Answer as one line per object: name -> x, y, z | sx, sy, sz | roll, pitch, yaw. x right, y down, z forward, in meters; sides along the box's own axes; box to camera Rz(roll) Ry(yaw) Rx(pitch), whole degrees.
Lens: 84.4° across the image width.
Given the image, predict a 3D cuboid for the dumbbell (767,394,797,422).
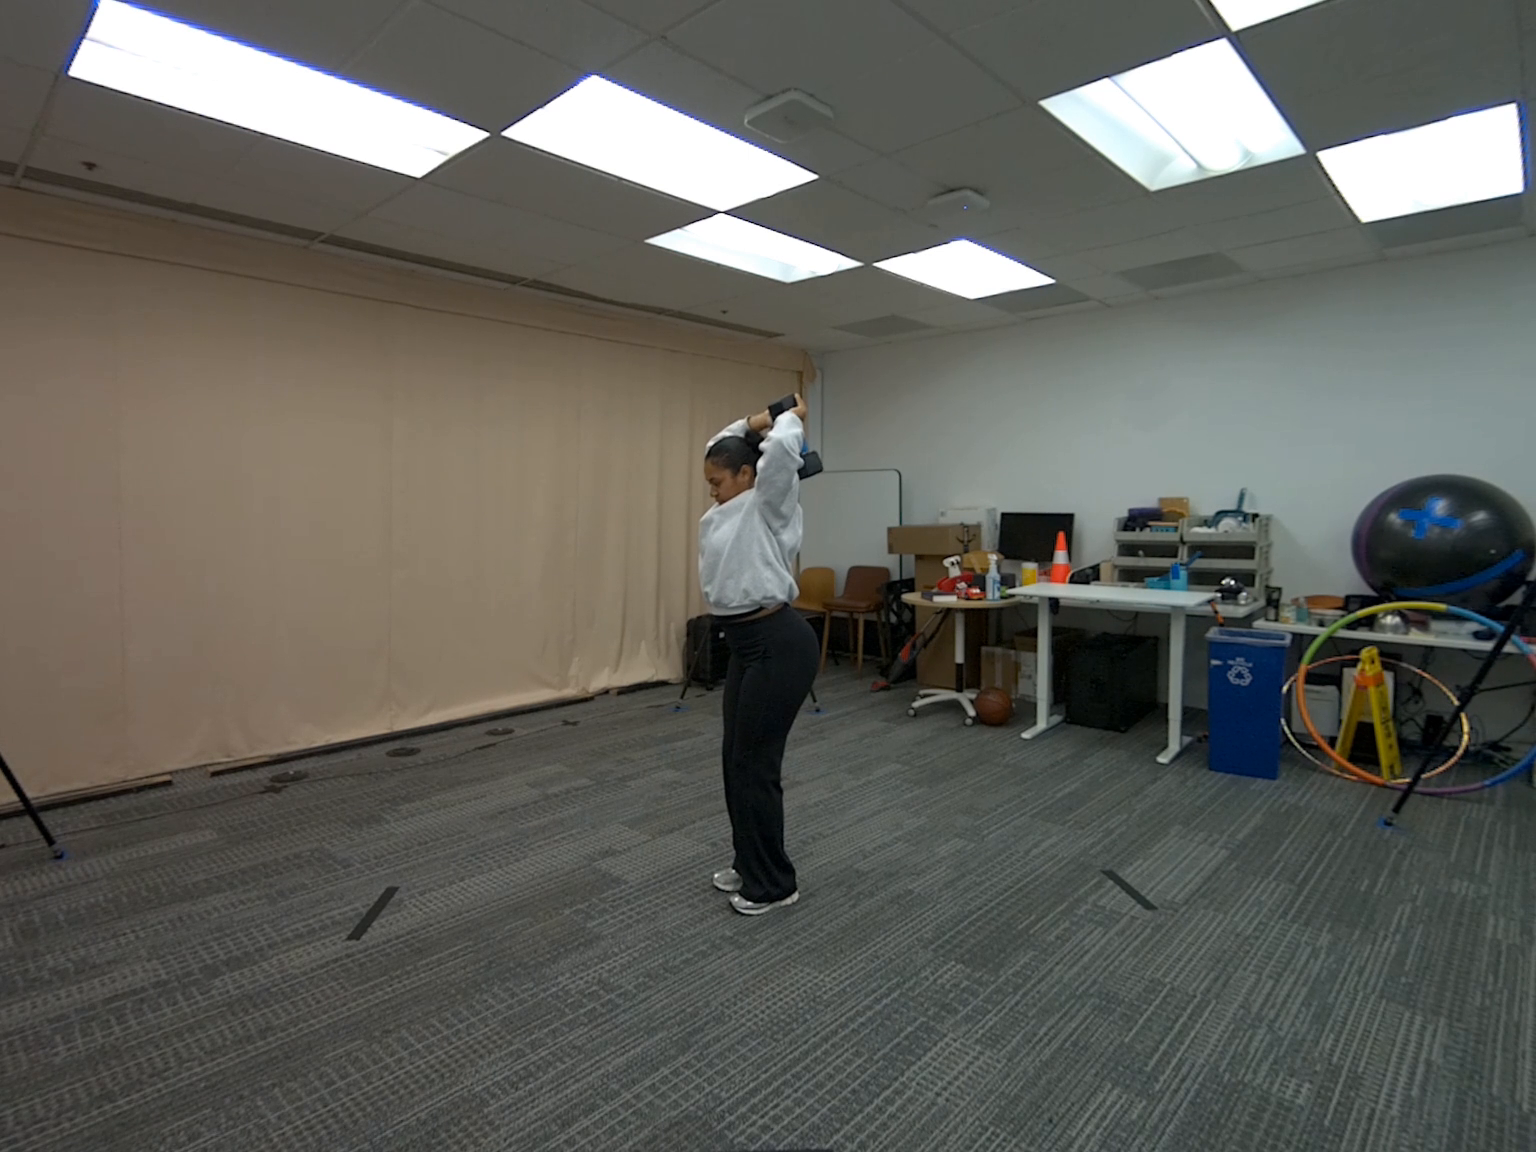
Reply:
dumbbell -> 0.104, -0.492, 2.958 | 0.126, 0.291, 0.107 | -18, 11, 33
